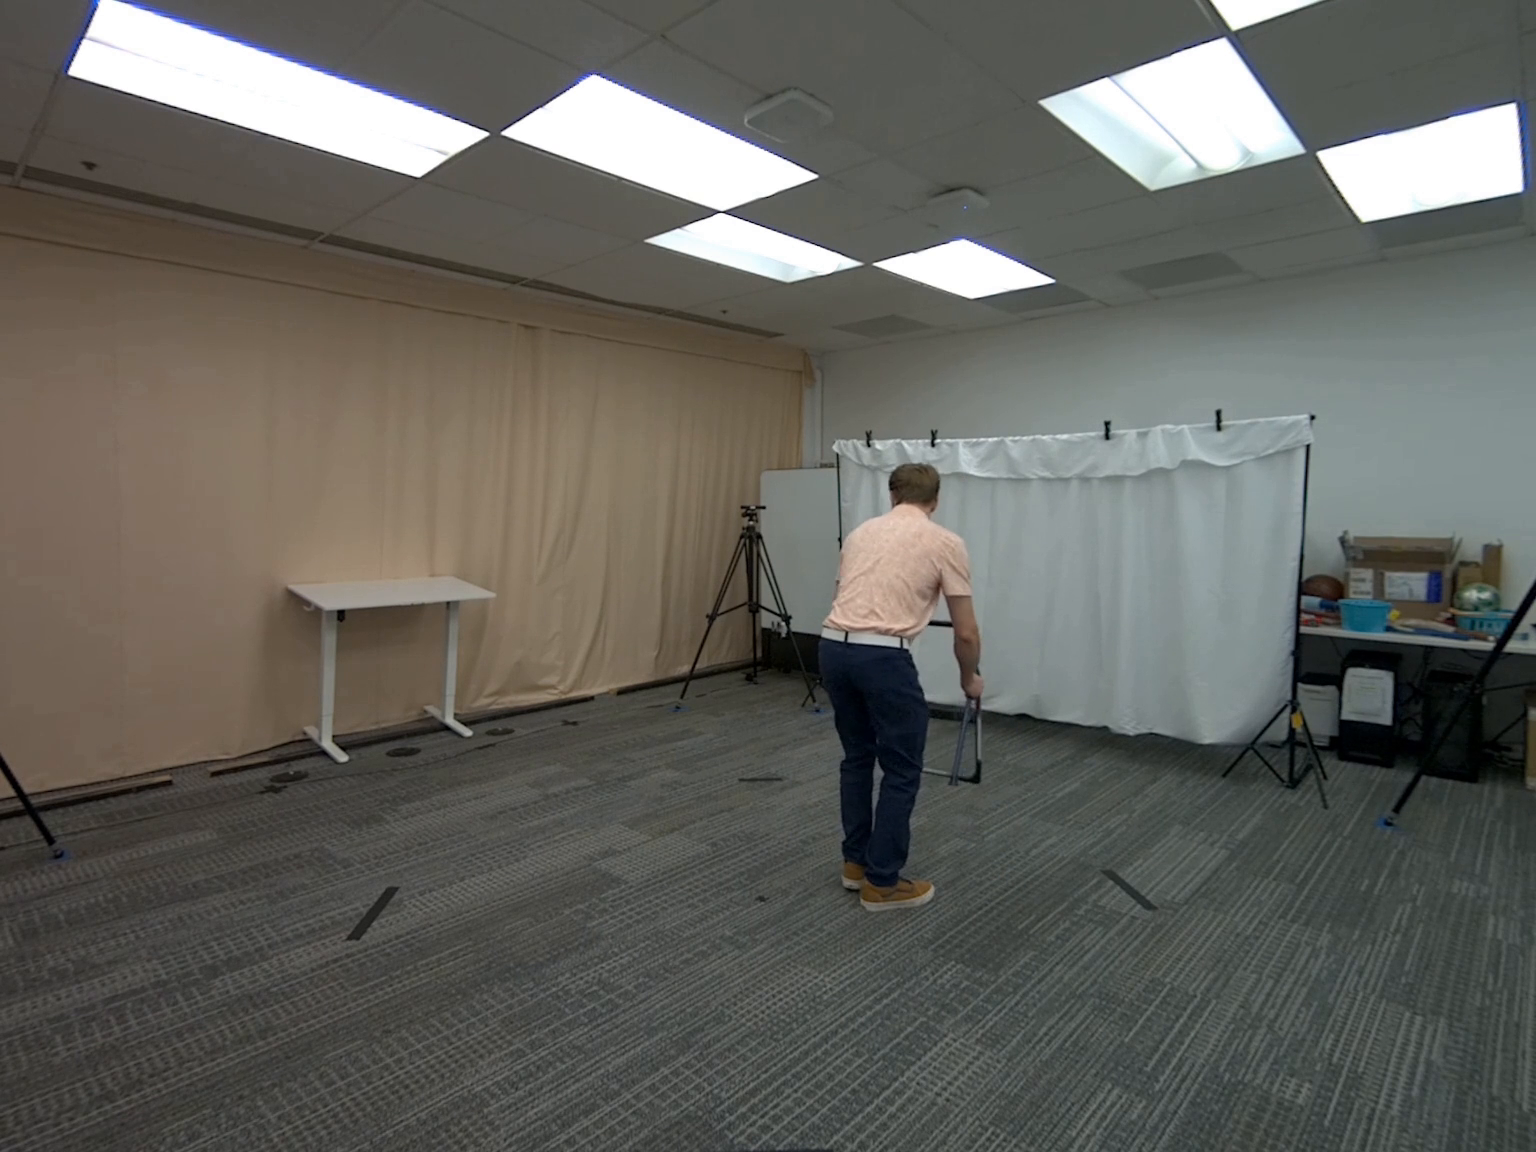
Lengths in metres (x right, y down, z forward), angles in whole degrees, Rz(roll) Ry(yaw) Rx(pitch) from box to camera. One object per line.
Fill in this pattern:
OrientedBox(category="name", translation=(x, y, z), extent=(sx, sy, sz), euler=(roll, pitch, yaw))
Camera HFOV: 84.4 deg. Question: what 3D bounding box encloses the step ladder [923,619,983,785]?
OrientedBox(category="step ladder", translation=(0.596, 0.476, 3.267), extent=(0.443, 0.608, 0.337), euler=(2, -10, 31))
